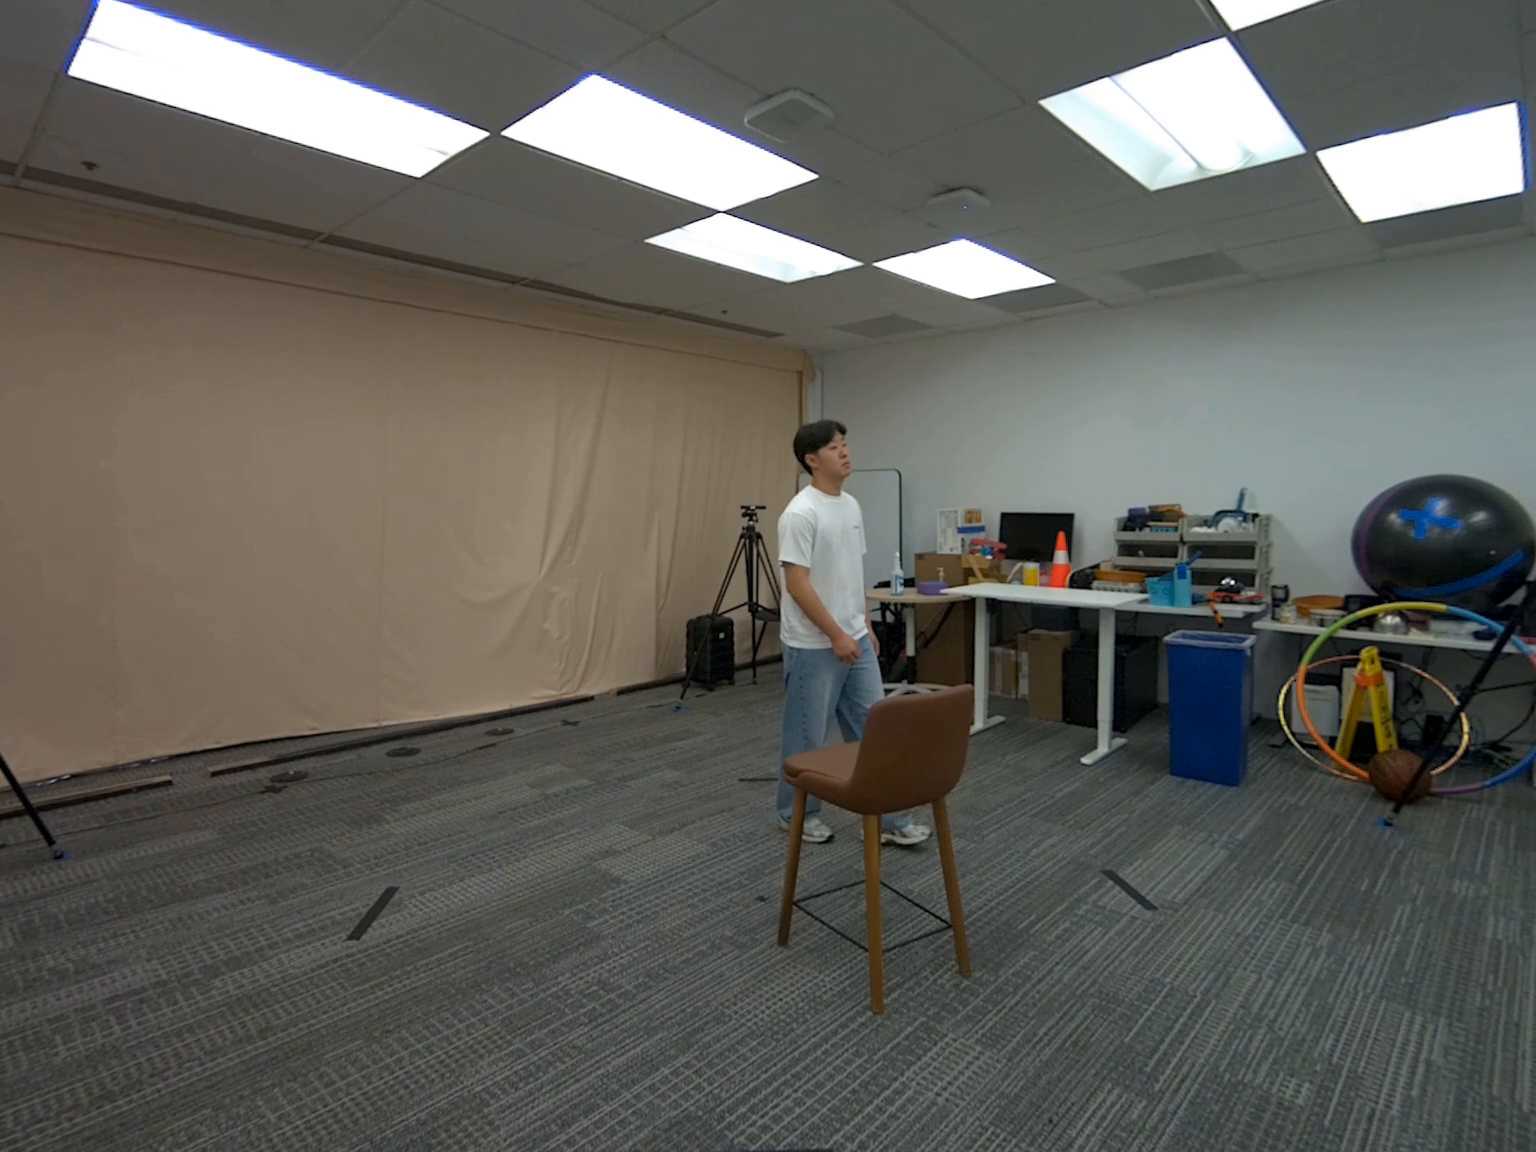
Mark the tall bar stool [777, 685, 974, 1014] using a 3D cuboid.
[{"bbox_3d":[0.330,0.742,2.563,0.443,0.887,0.482,-2,6,-34],"label":"tall bar stool"}]
